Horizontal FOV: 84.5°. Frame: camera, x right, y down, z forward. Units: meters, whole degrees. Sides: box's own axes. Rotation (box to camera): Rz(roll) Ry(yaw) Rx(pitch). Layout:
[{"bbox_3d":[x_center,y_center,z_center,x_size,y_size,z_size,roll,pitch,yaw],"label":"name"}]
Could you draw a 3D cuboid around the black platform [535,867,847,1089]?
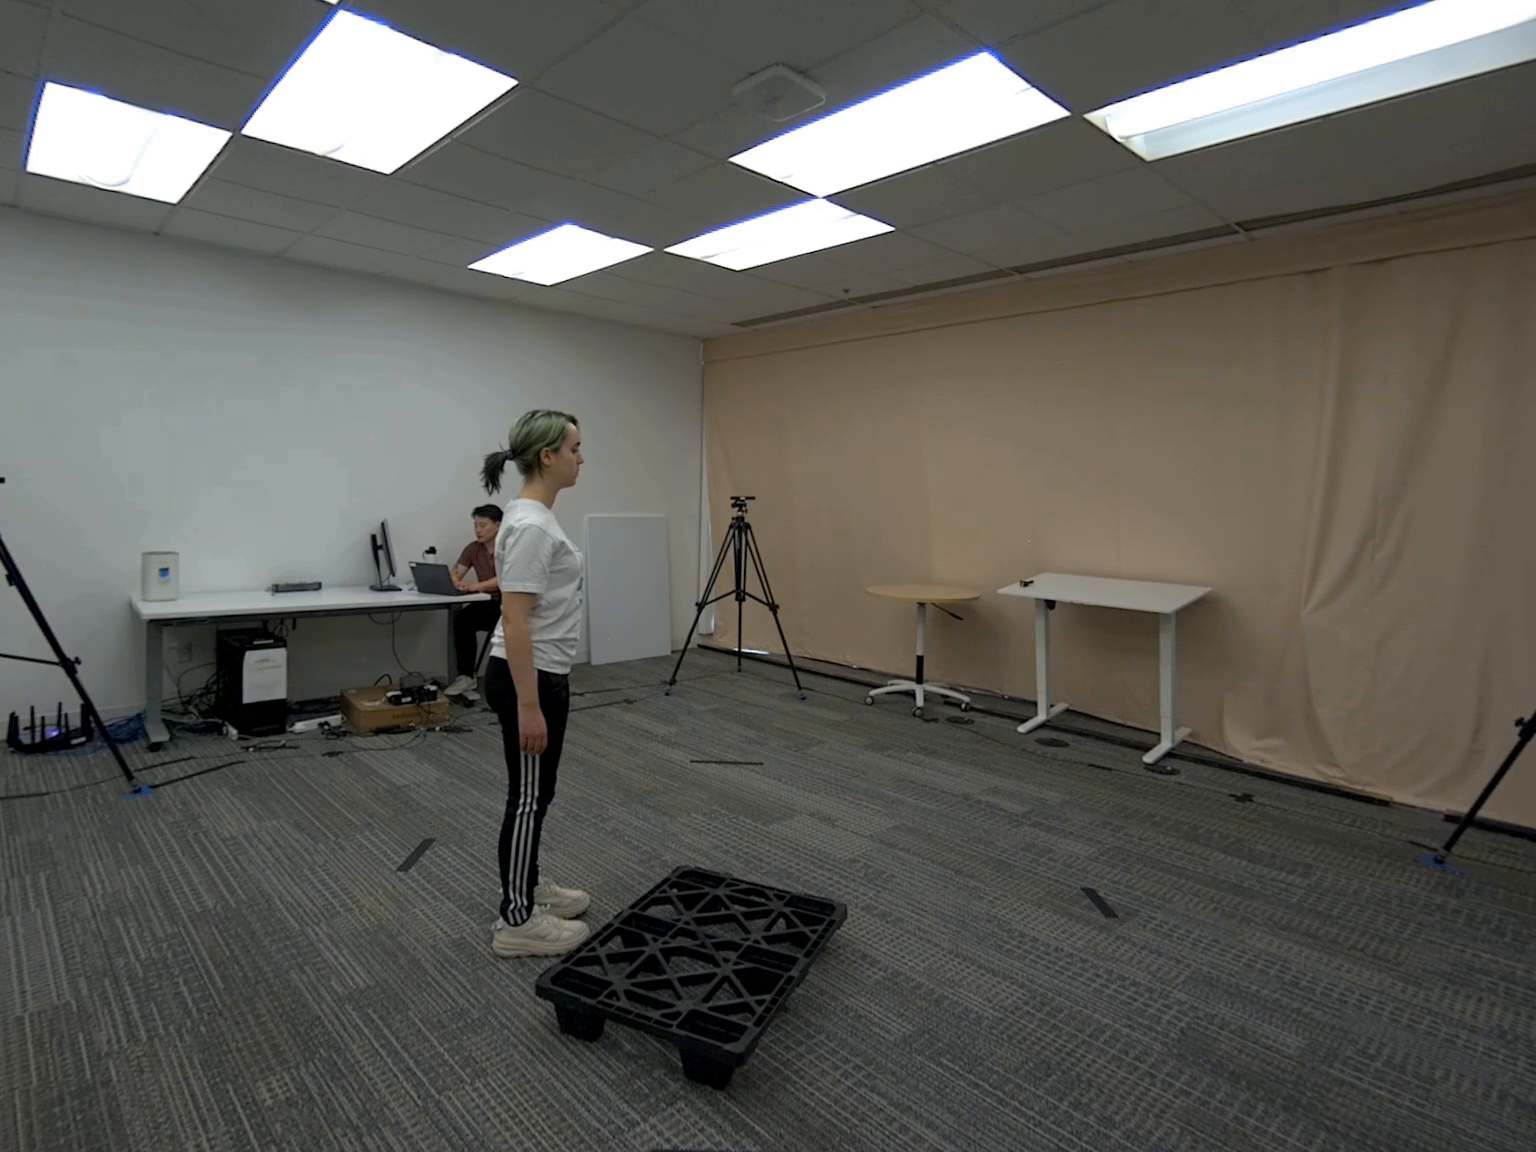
[{"bbox_3d":[-0.182,1.100,2.399,0.617,0.143,0.793,5,6,24],"label":"black platform"}]
